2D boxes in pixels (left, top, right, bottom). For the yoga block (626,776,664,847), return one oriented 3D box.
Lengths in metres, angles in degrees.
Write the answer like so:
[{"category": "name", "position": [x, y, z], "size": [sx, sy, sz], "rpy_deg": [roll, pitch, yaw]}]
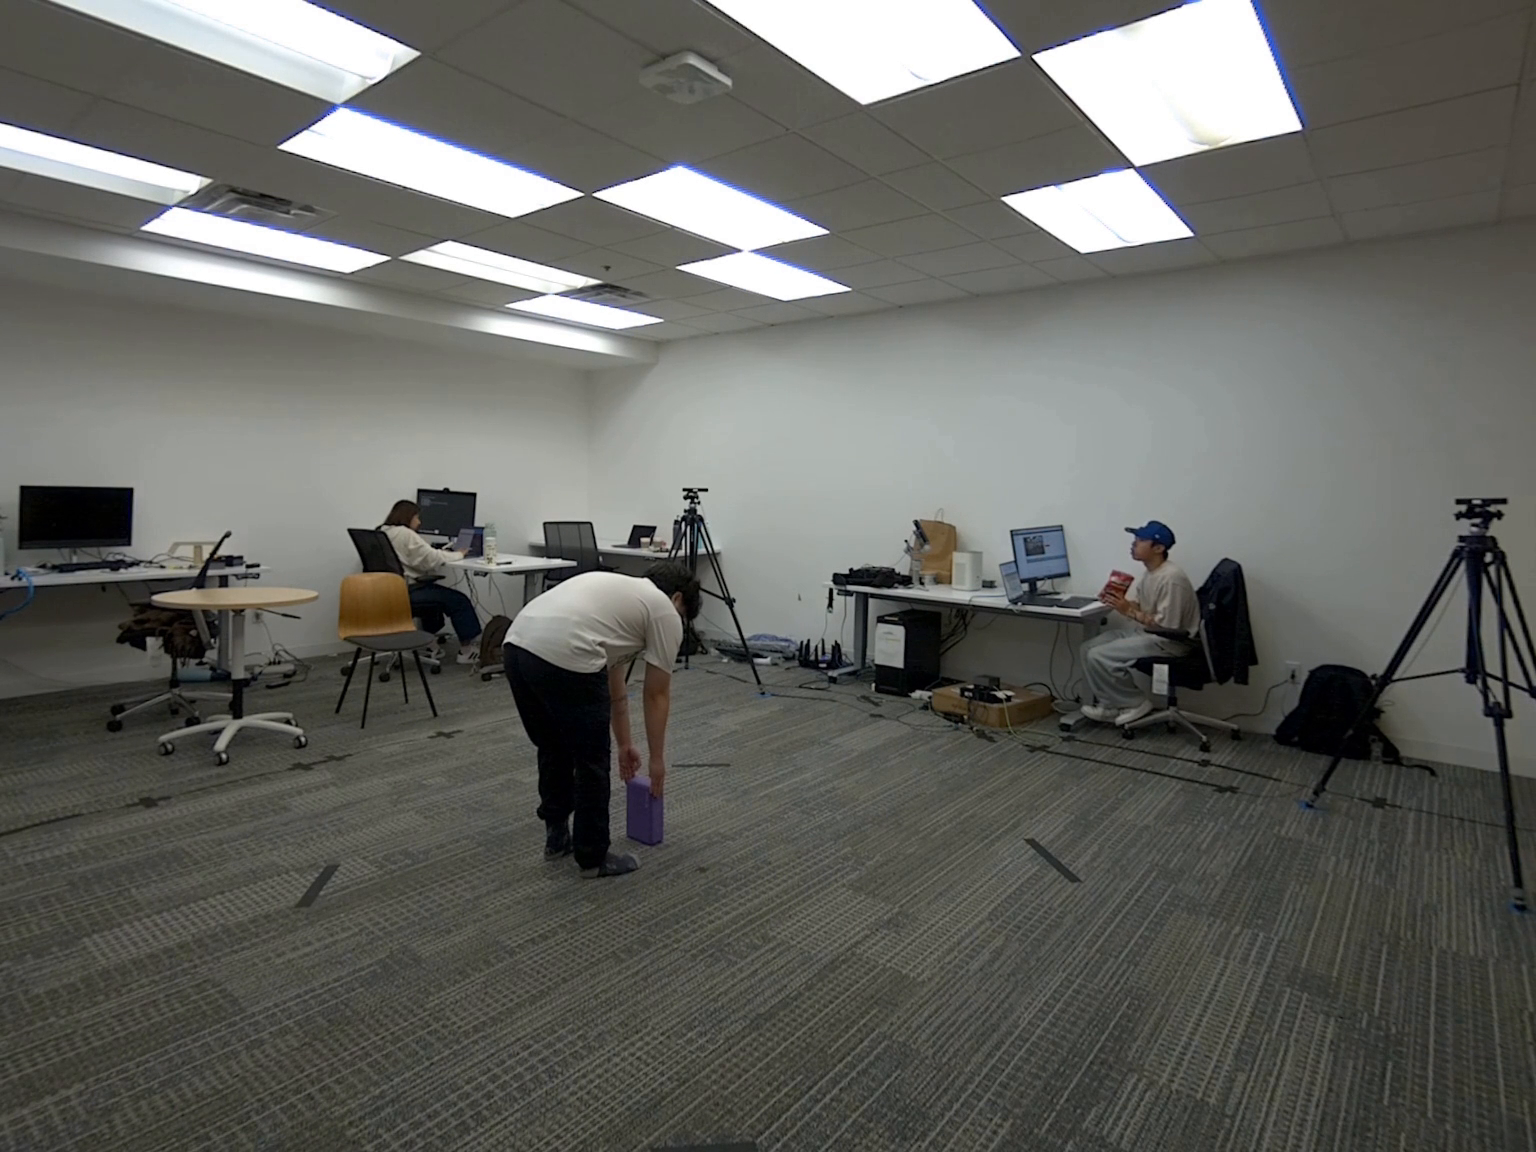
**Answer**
[{"category": "yoga block", "position": [-0.504, 0.930, 3.369], "size": [0.154, 0.228, 0.074], "rpy_deg": [1, 5, 39]}]
